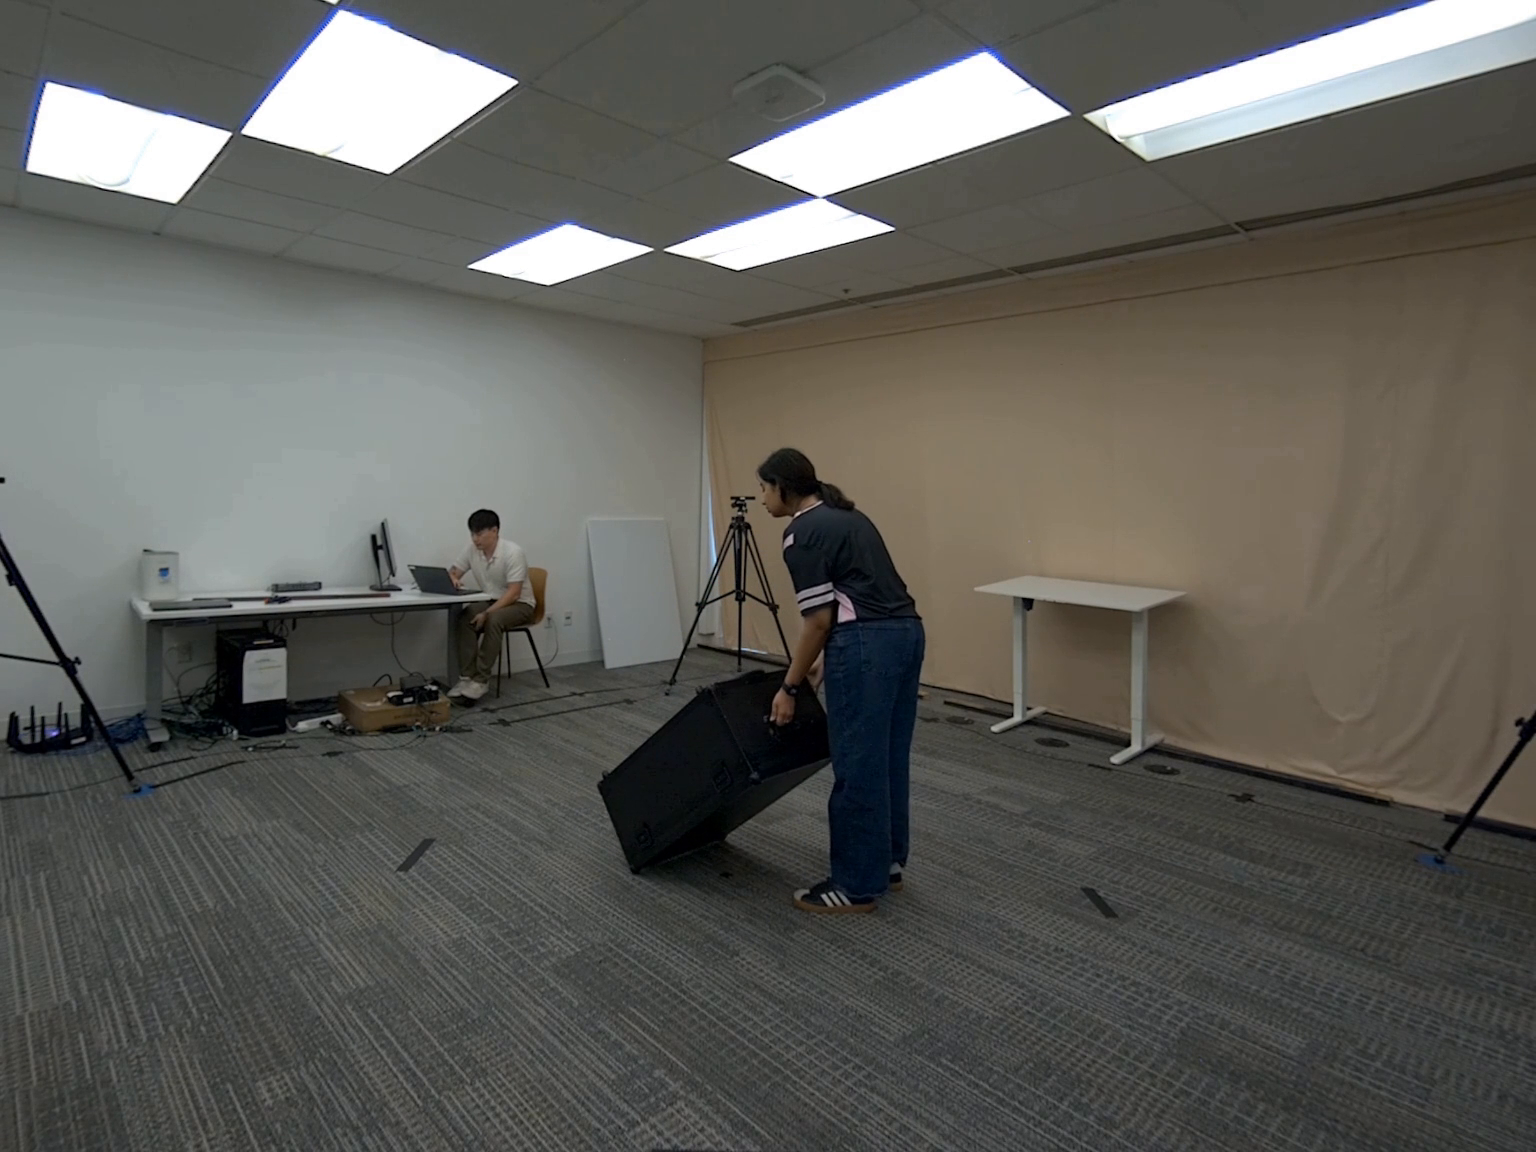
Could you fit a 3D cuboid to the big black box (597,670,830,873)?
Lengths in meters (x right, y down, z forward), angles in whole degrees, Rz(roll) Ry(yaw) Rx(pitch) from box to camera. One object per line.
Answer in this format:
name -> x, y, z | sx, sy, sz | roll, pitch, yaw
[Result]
big black box -> -0.226, 0.730, 3.132 | 0.512, 0.393, 0.869 | -5, -31, -48
